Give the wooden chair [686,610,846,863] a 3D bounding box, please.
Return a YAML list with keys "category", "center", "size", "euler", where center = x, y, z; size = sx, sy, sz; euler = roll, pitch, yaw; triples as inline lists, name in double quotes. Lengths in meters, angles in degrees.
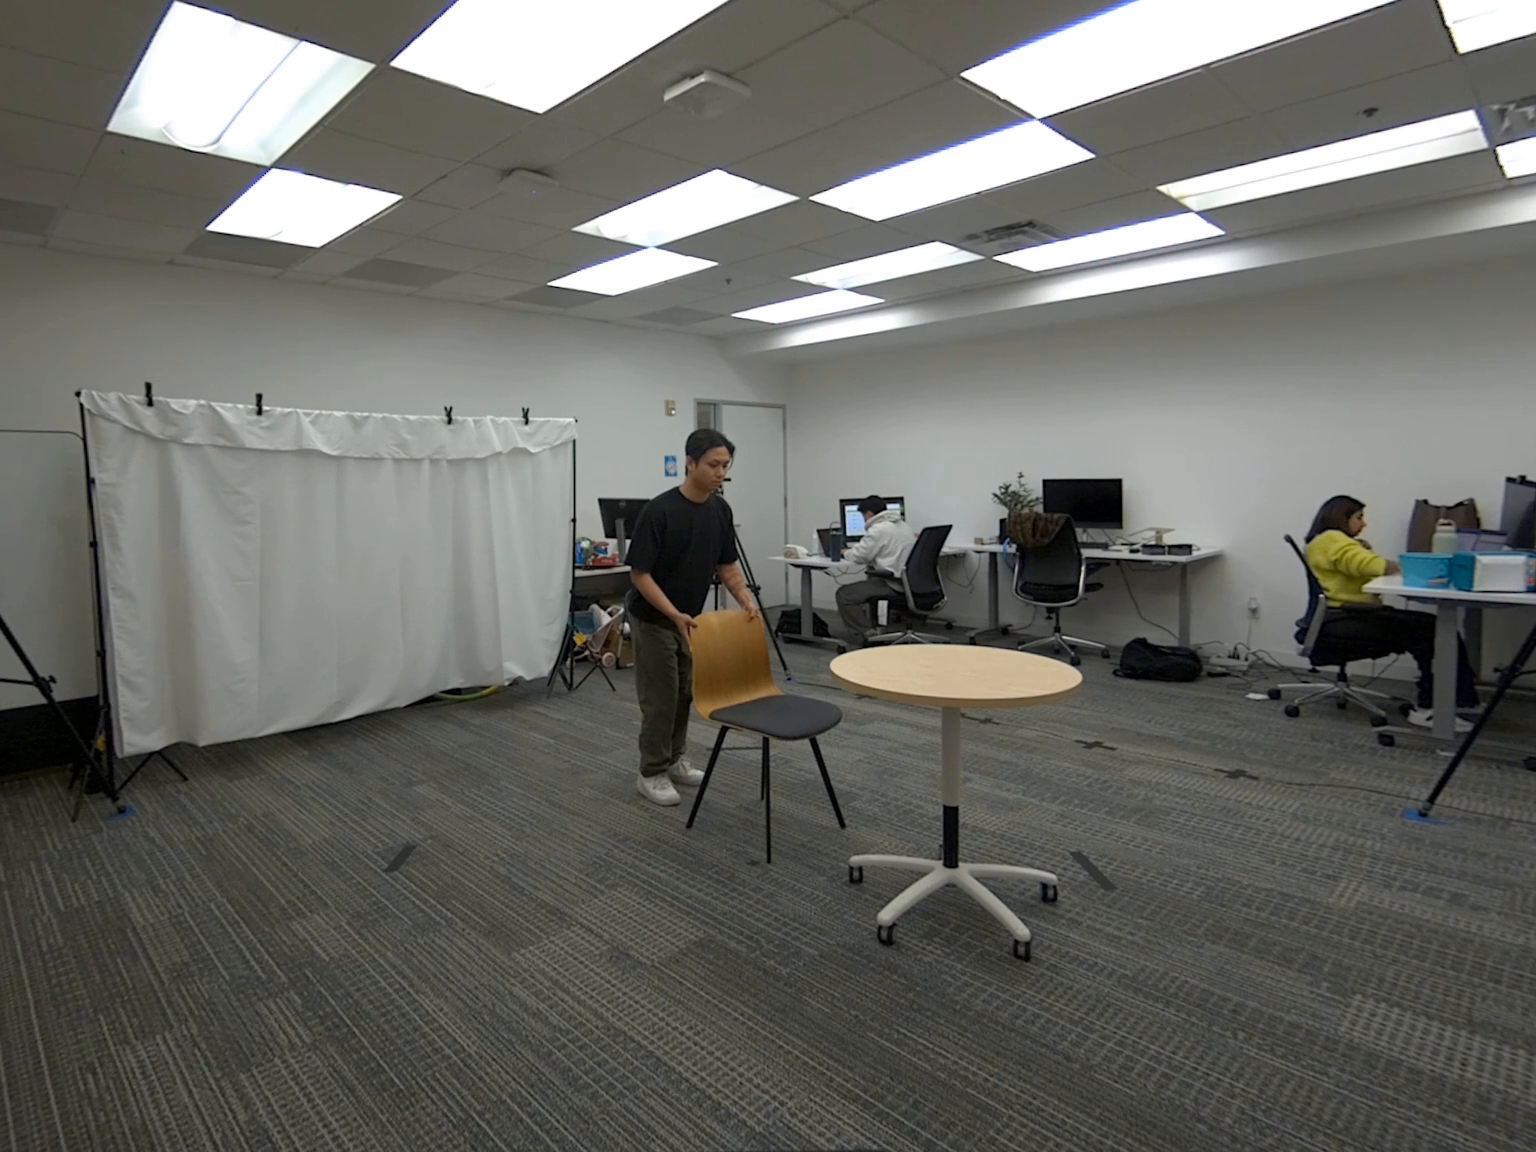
- category: "wooden chair"
  center: [-0.007, 0.584, 3.369]
  size: [0.538, 0.877, 0.465]
  euler: [-2, 1, 45]
